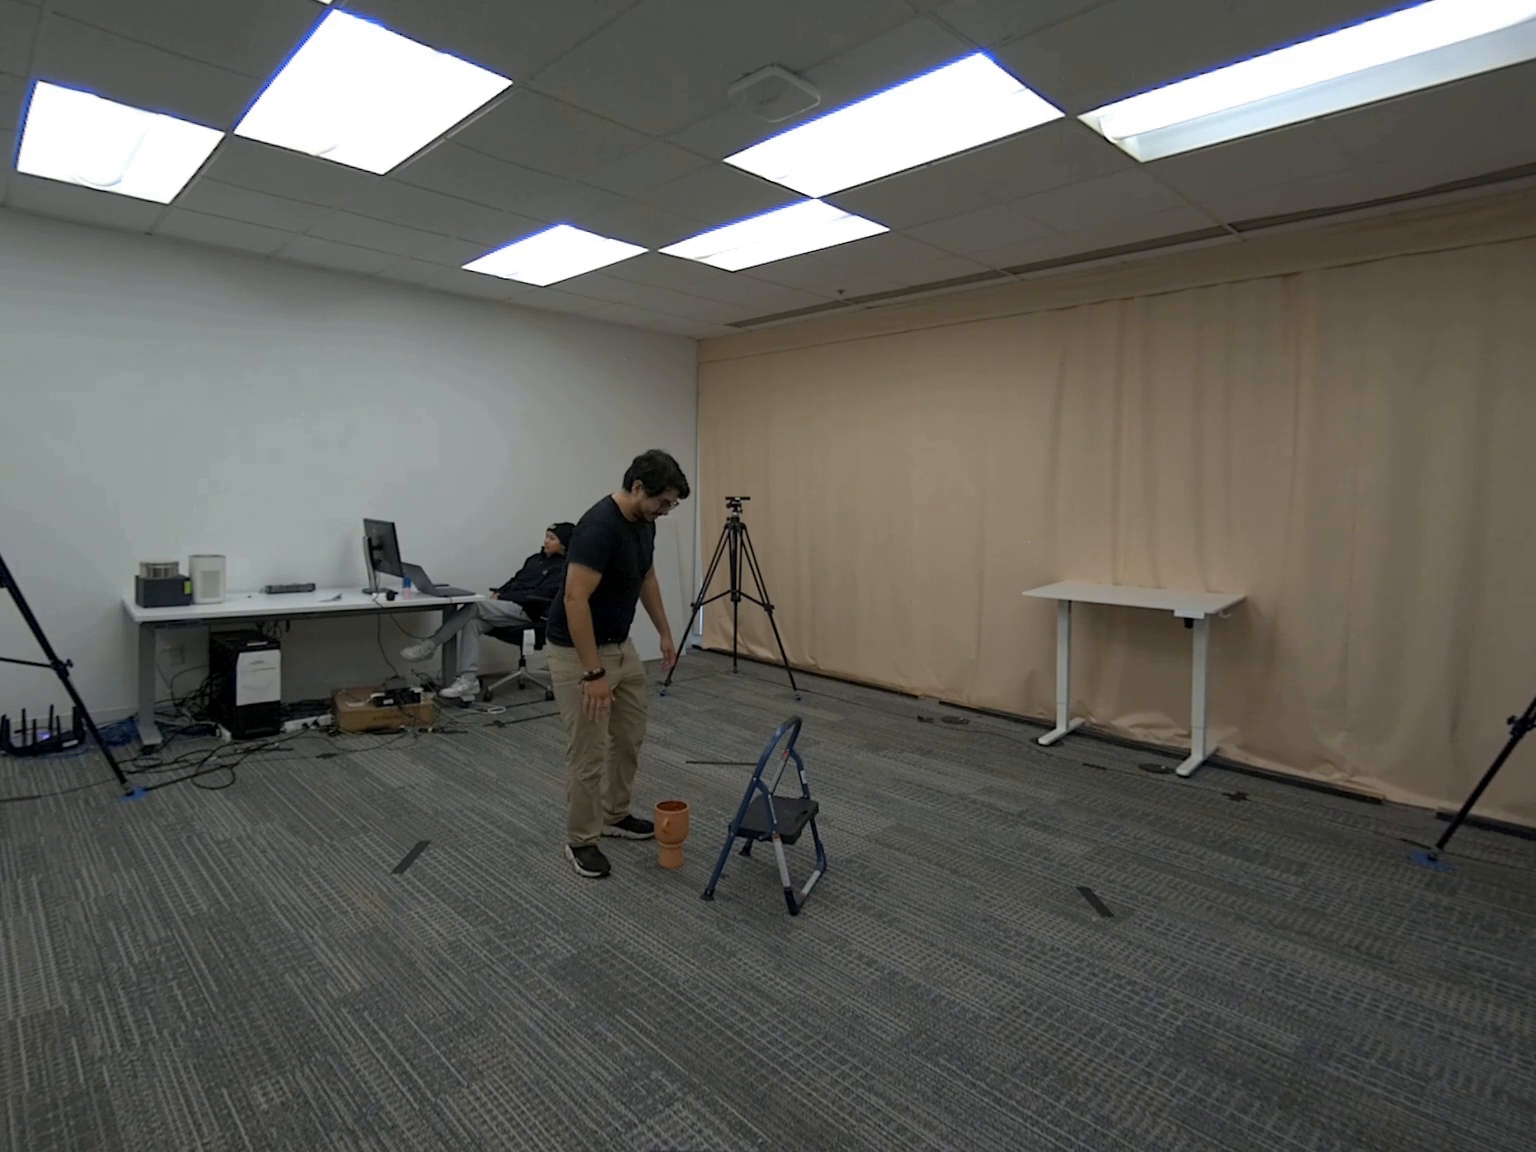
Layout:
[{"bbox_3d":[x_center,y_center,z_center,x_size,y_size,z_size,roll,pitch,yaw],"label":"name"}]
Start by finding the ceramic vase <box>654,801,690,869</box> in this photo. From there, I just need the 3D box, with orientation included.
[{"bbox_3d":[-0.368,0.977,3.203,0.155,0.219,0.138,-1,4,-38],"label":"ceramic vase"}]
